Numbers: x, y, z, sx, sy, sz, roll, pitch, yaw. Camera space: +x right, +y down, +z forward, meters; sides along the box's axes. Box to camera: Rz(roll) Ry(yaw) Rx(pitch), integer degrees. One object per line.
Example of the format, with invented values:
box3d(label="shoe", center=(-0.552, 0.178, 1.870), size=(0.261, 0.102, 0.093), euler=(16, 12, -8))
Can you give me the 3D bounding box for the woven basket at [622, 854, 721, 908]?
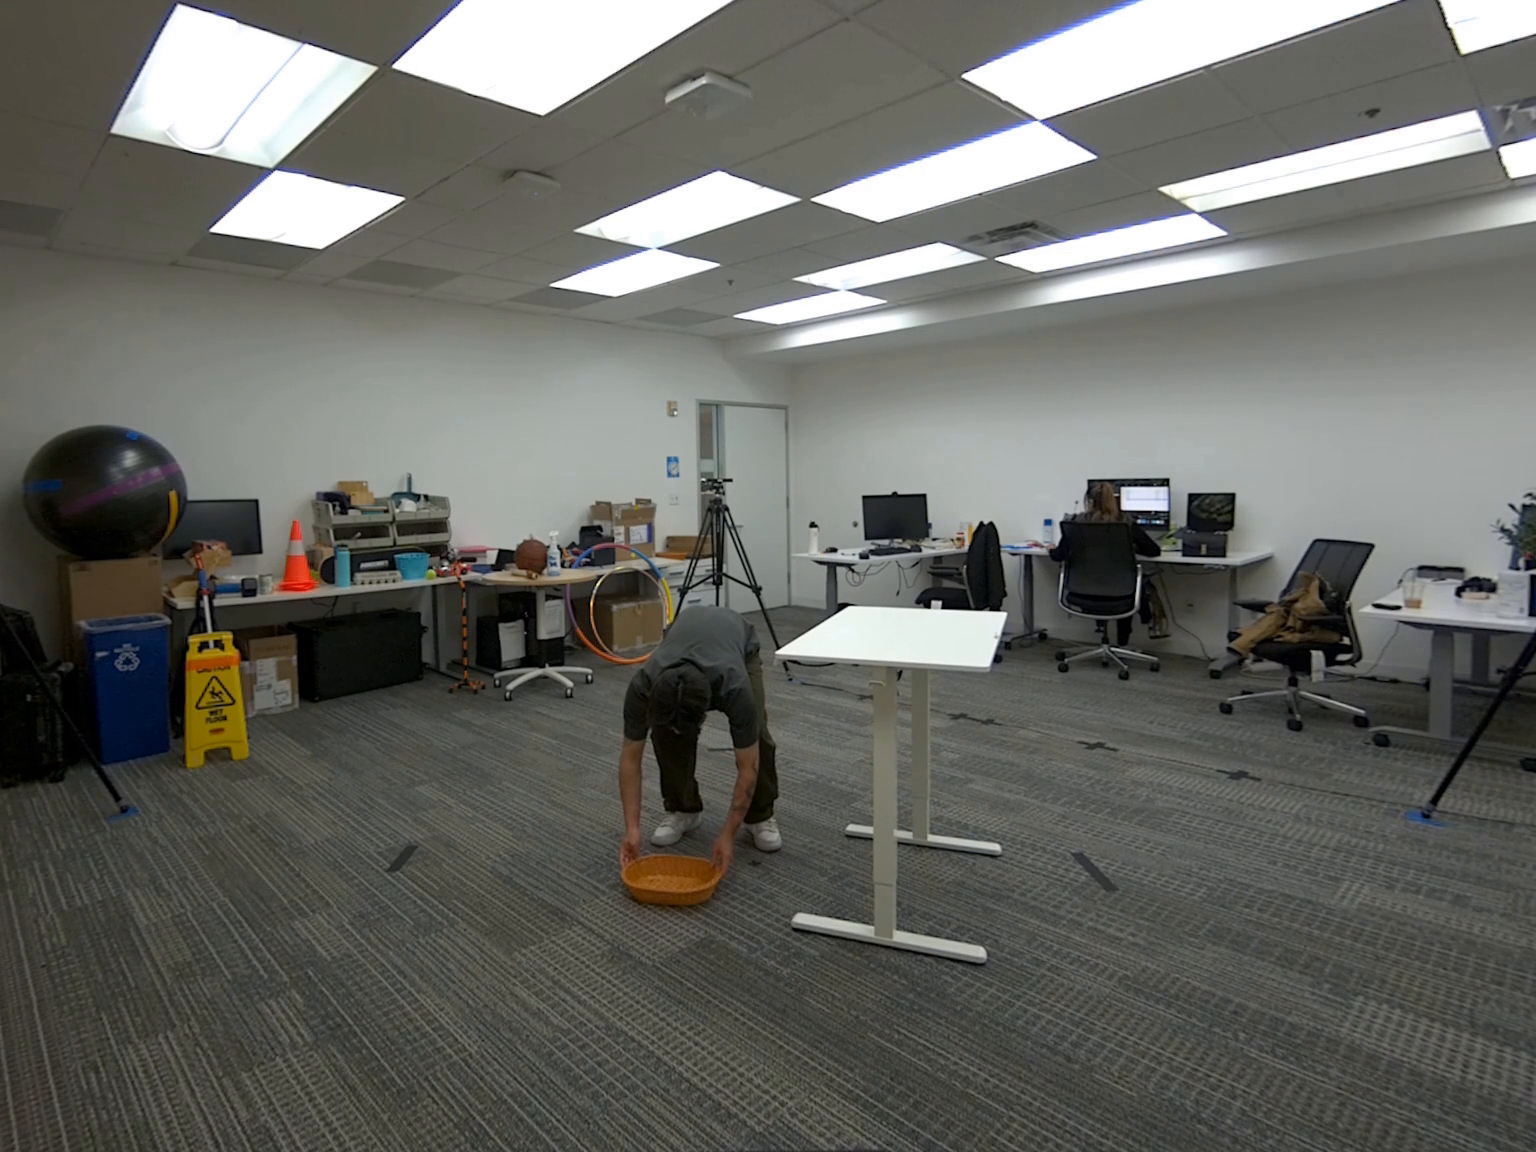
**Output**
box3d(label="woven basket", center=(-0.331, 1.037, 2.897), size=(0.357, 0.073, 0.249), euler=(1, 8, 18))
